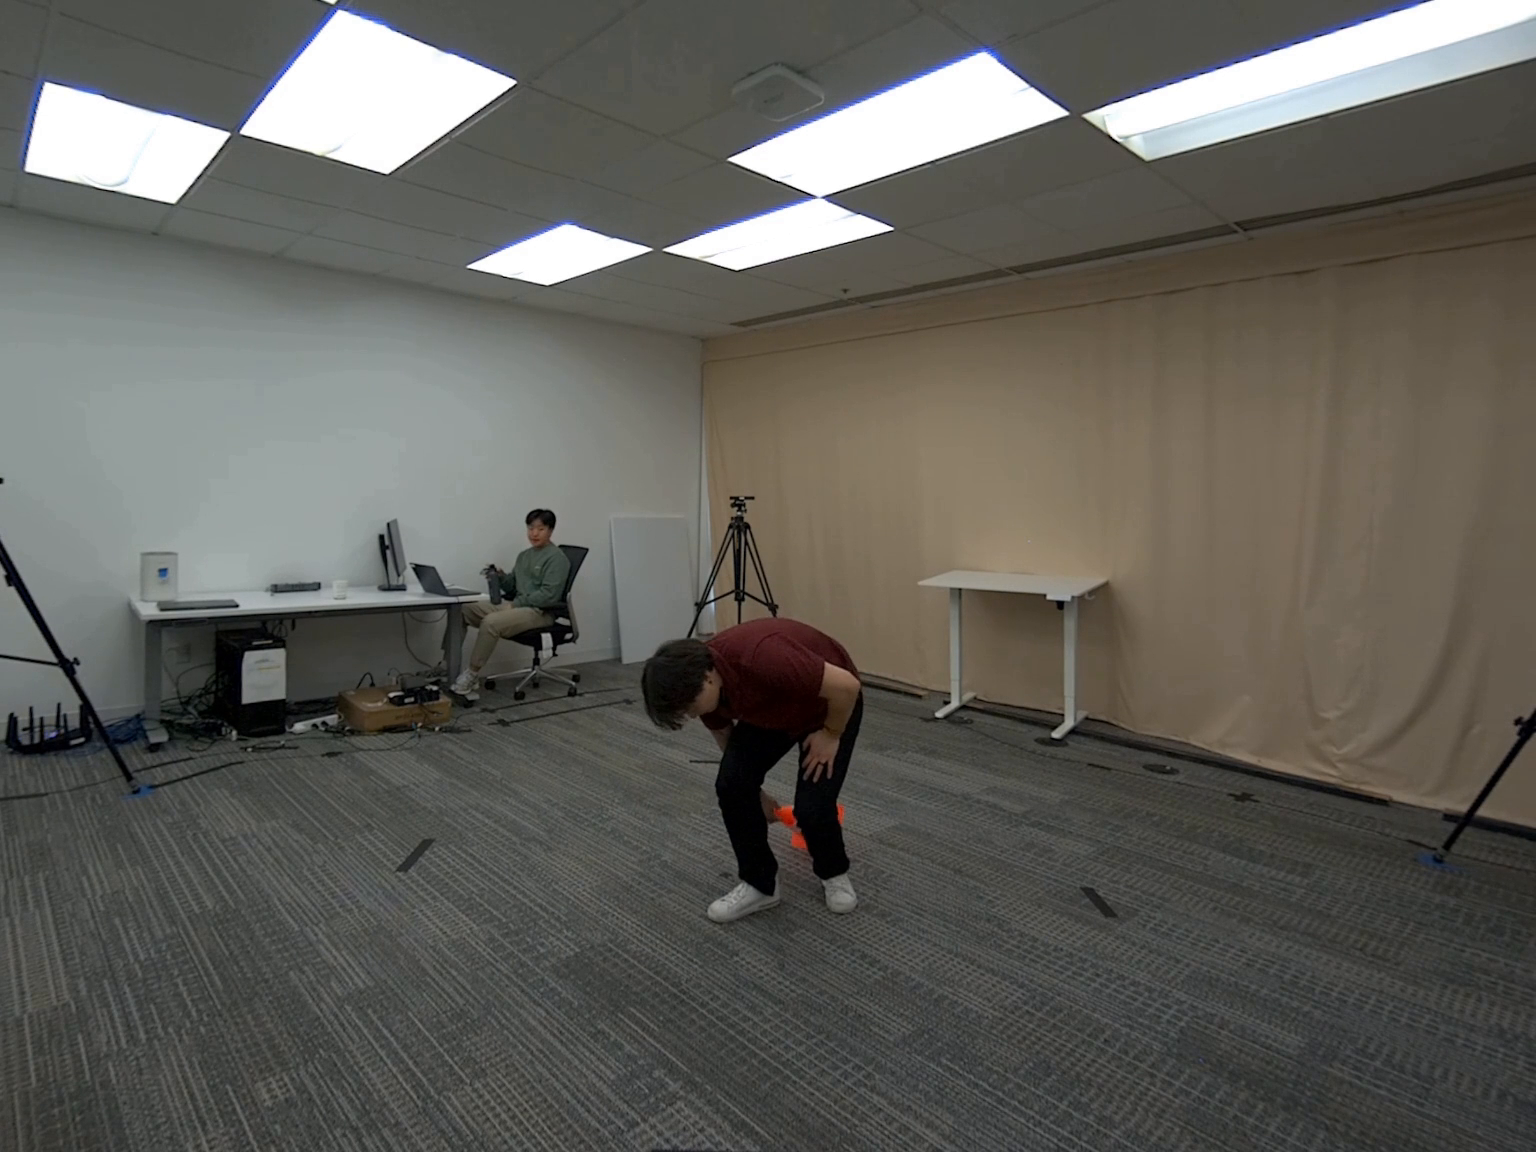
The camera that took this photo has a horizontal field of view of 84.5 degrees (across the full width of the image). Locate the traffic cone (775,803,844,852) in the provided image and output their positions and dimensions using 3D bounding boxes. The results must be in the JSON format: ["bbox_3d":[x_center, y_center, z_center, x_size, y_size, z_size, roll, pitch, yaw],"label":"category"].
[{"bbox_3d":[0.108,0.939,3.214,0.210,0.205,0.372,8,-17,31],"label":"traffic cone"}]
